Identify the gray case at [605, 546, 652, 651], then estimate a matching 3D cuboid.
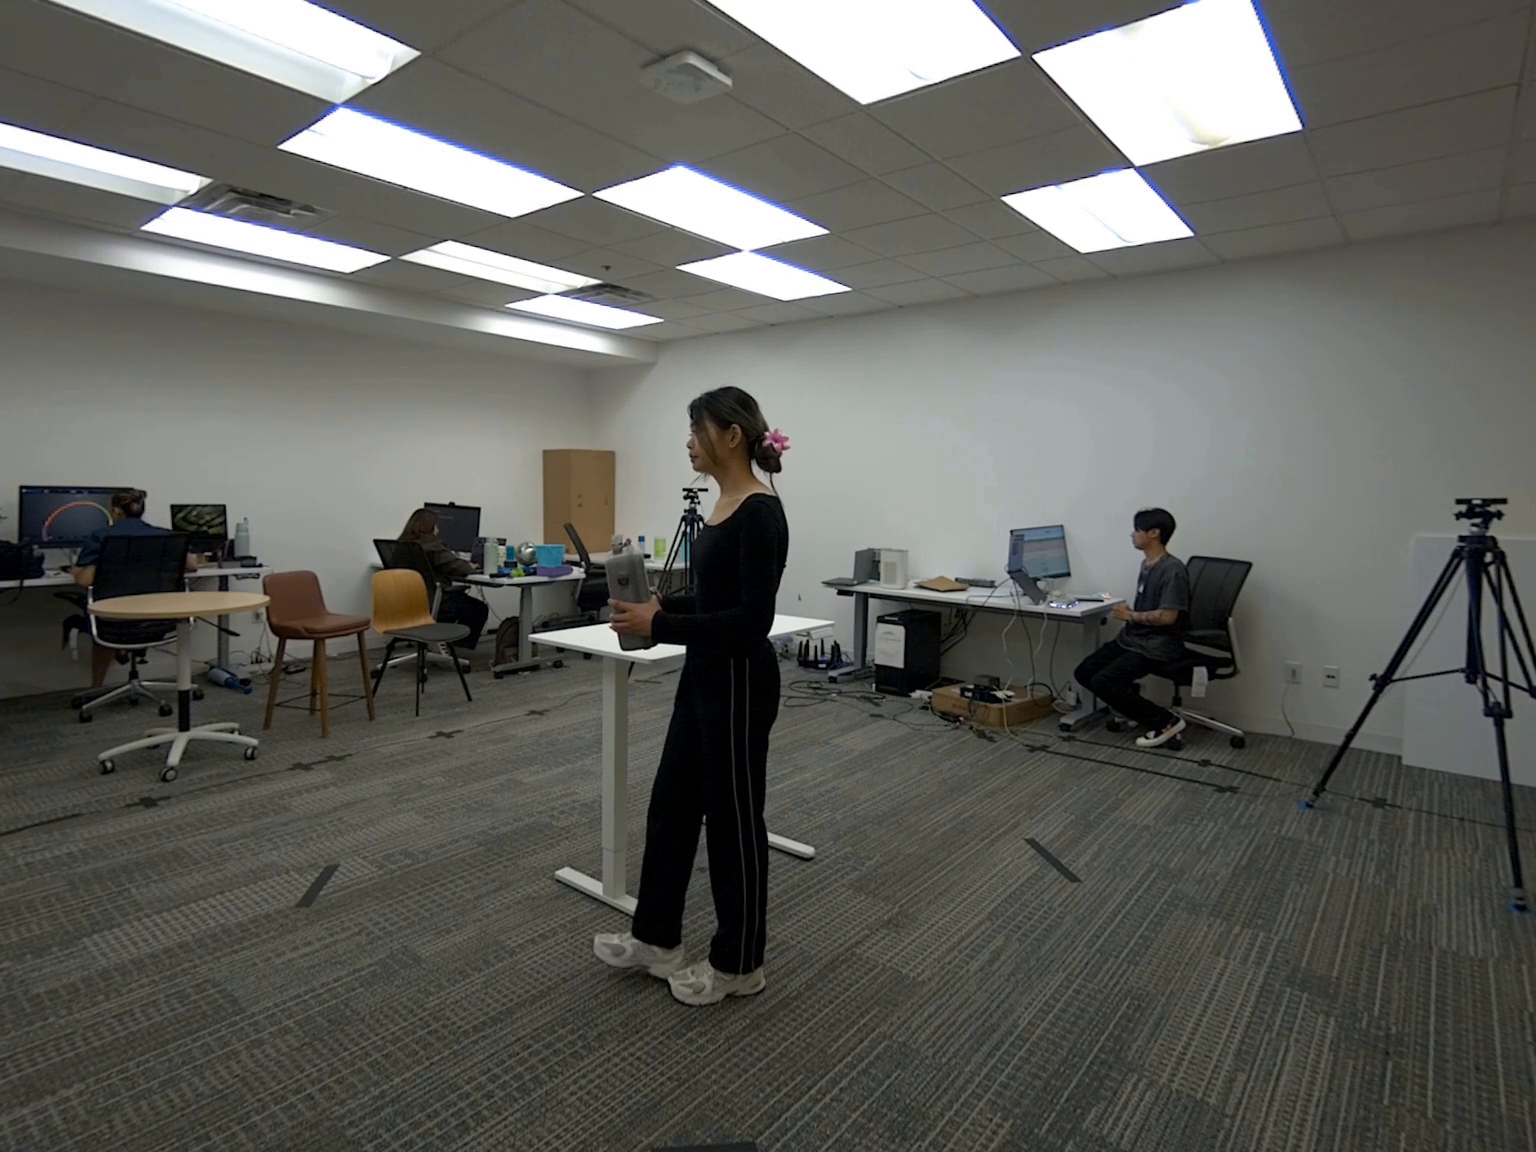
[{"bbox_3d":[-0.370,0.054,2.255,0.104,0.259,0.259,-11,5,-7],"label":"gray case"}]
